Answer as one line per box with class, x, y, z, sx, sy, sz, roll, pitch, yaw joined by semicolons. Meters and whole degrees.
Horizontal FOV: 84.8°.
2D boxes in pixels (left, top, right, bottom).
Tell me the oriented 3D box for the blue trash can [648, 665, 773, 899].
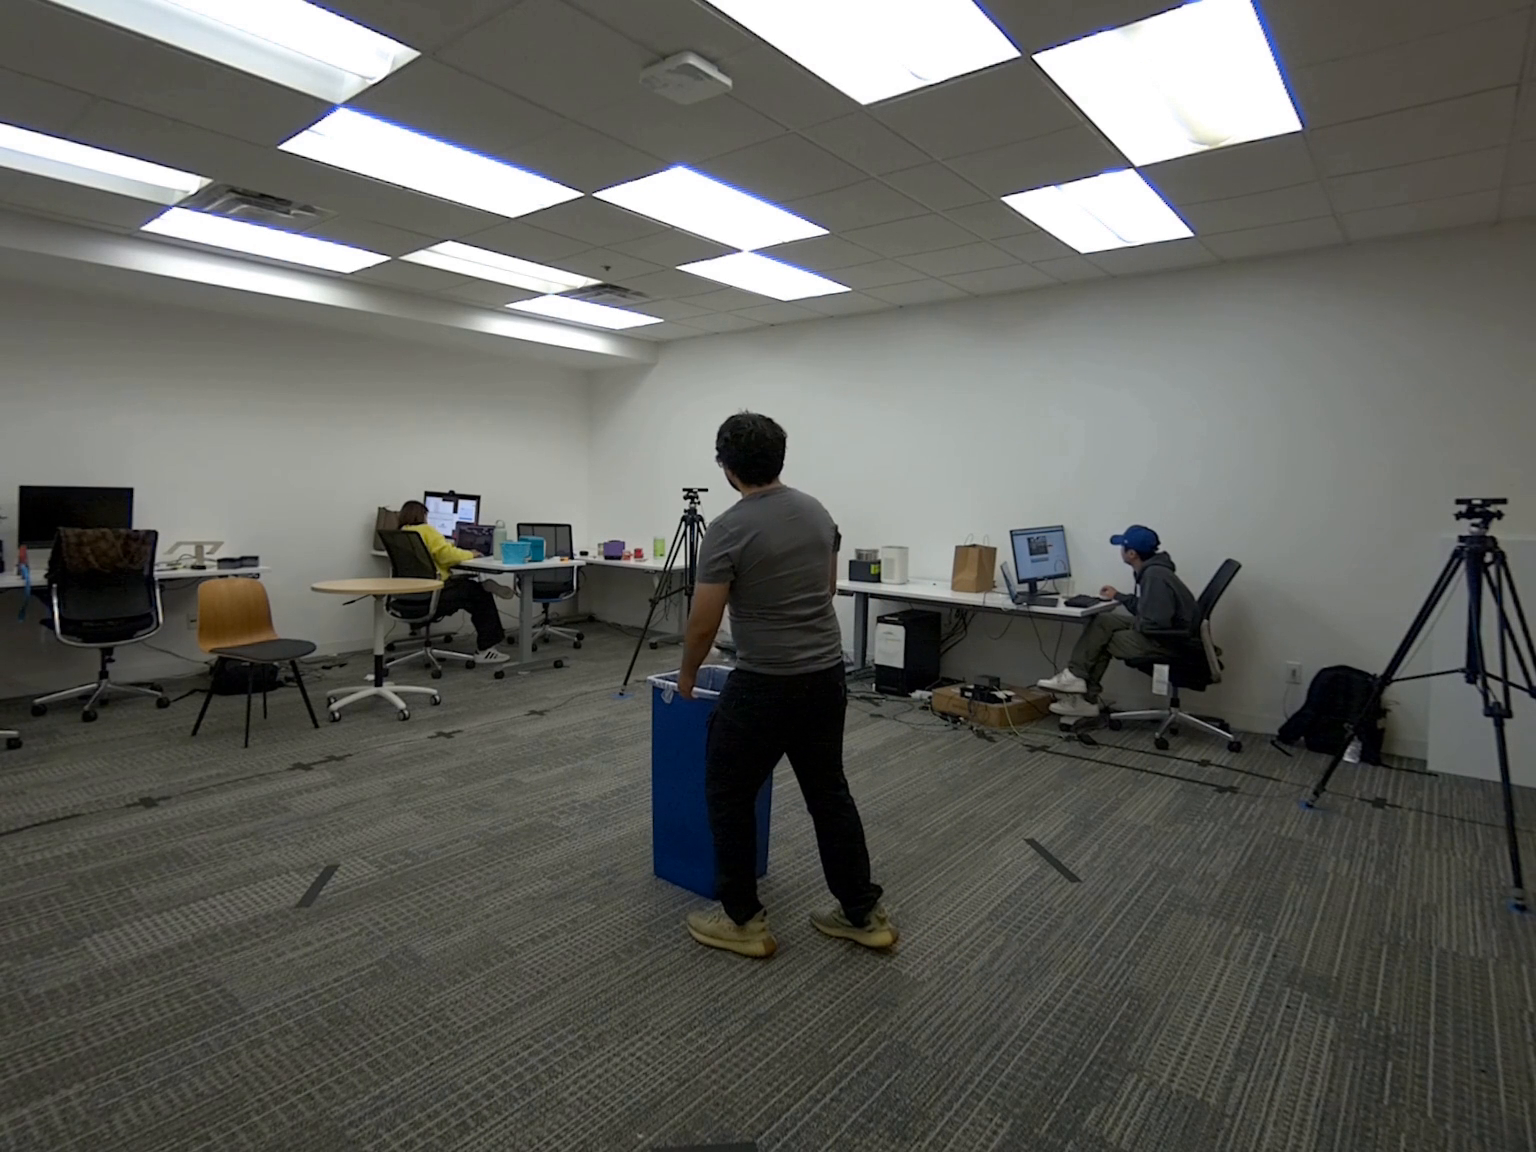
blue trash can;-0.217;0.718;3.062;0.386;0.712;0.367;4;4;38
